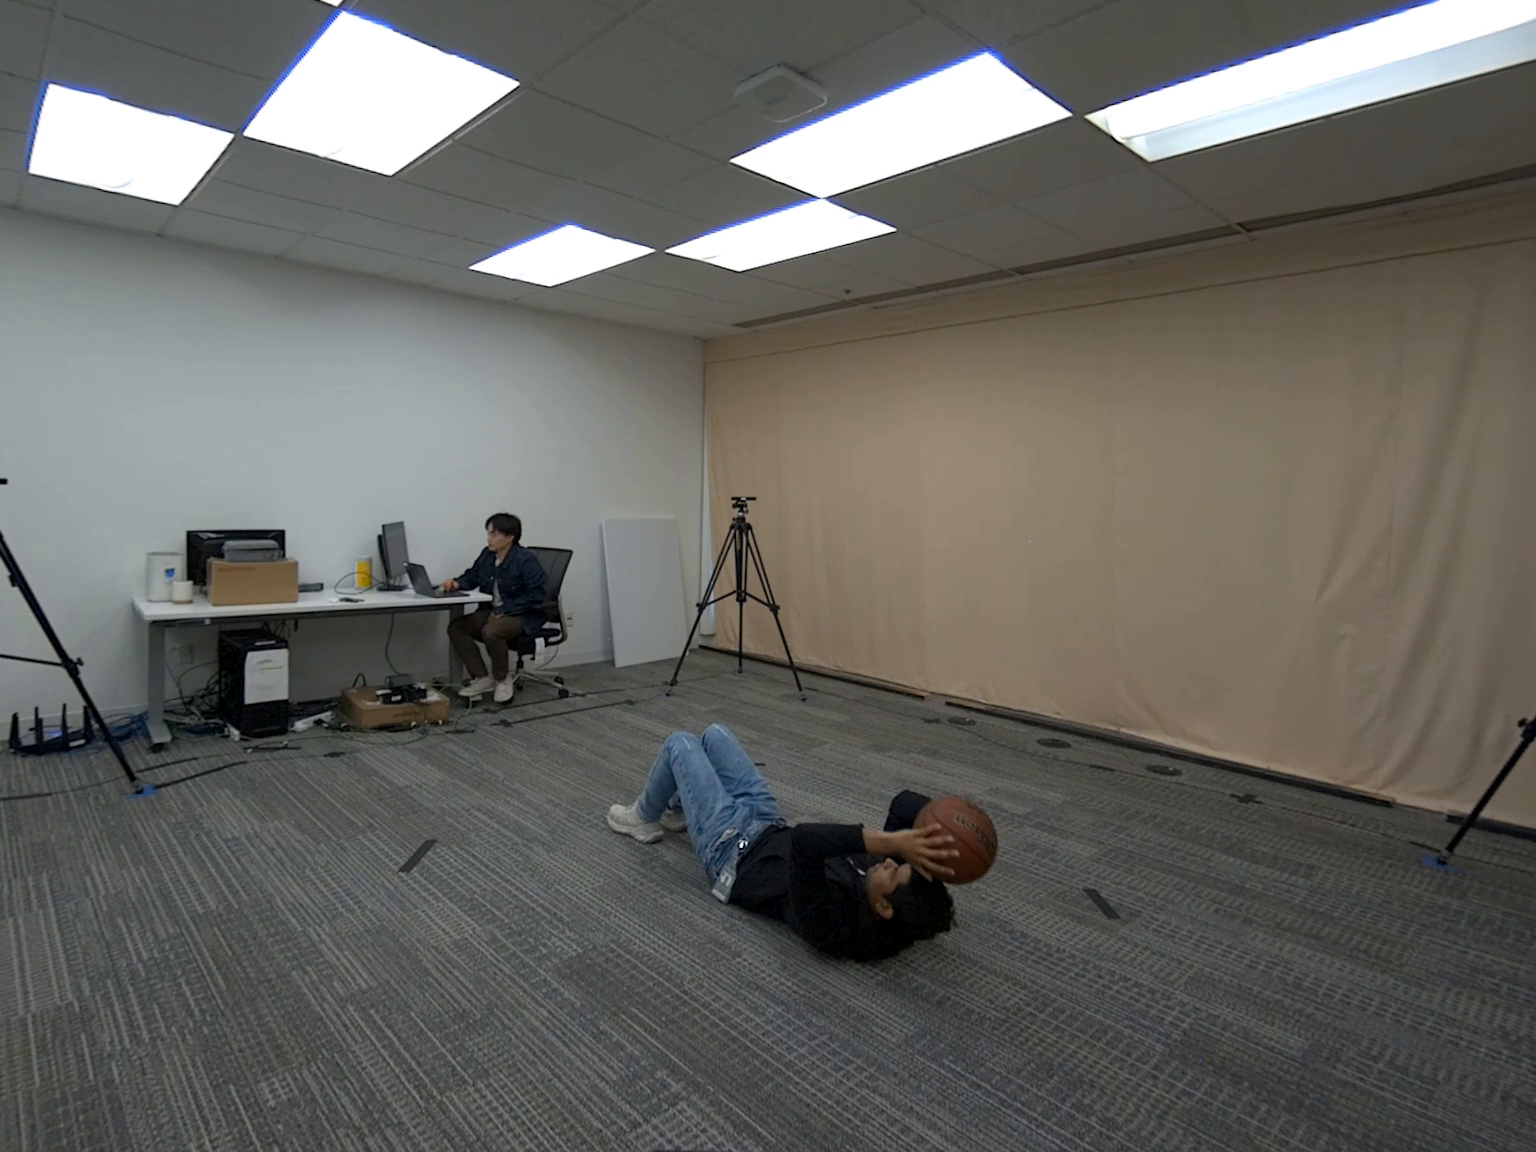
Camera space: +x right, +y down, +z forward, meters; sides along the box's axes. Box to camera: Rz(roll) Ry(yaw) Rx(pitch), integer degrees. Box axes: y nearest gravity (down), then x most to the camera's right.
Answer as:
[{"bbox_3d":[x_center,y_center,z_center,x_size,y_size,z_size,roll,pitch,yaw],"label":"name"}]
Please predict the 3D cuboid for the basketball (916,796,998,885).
[{"bbox_3d":[0.517,0.755,2.435,0.236,0.235,0.237,1,4,-1],"label":"basketball"}]
